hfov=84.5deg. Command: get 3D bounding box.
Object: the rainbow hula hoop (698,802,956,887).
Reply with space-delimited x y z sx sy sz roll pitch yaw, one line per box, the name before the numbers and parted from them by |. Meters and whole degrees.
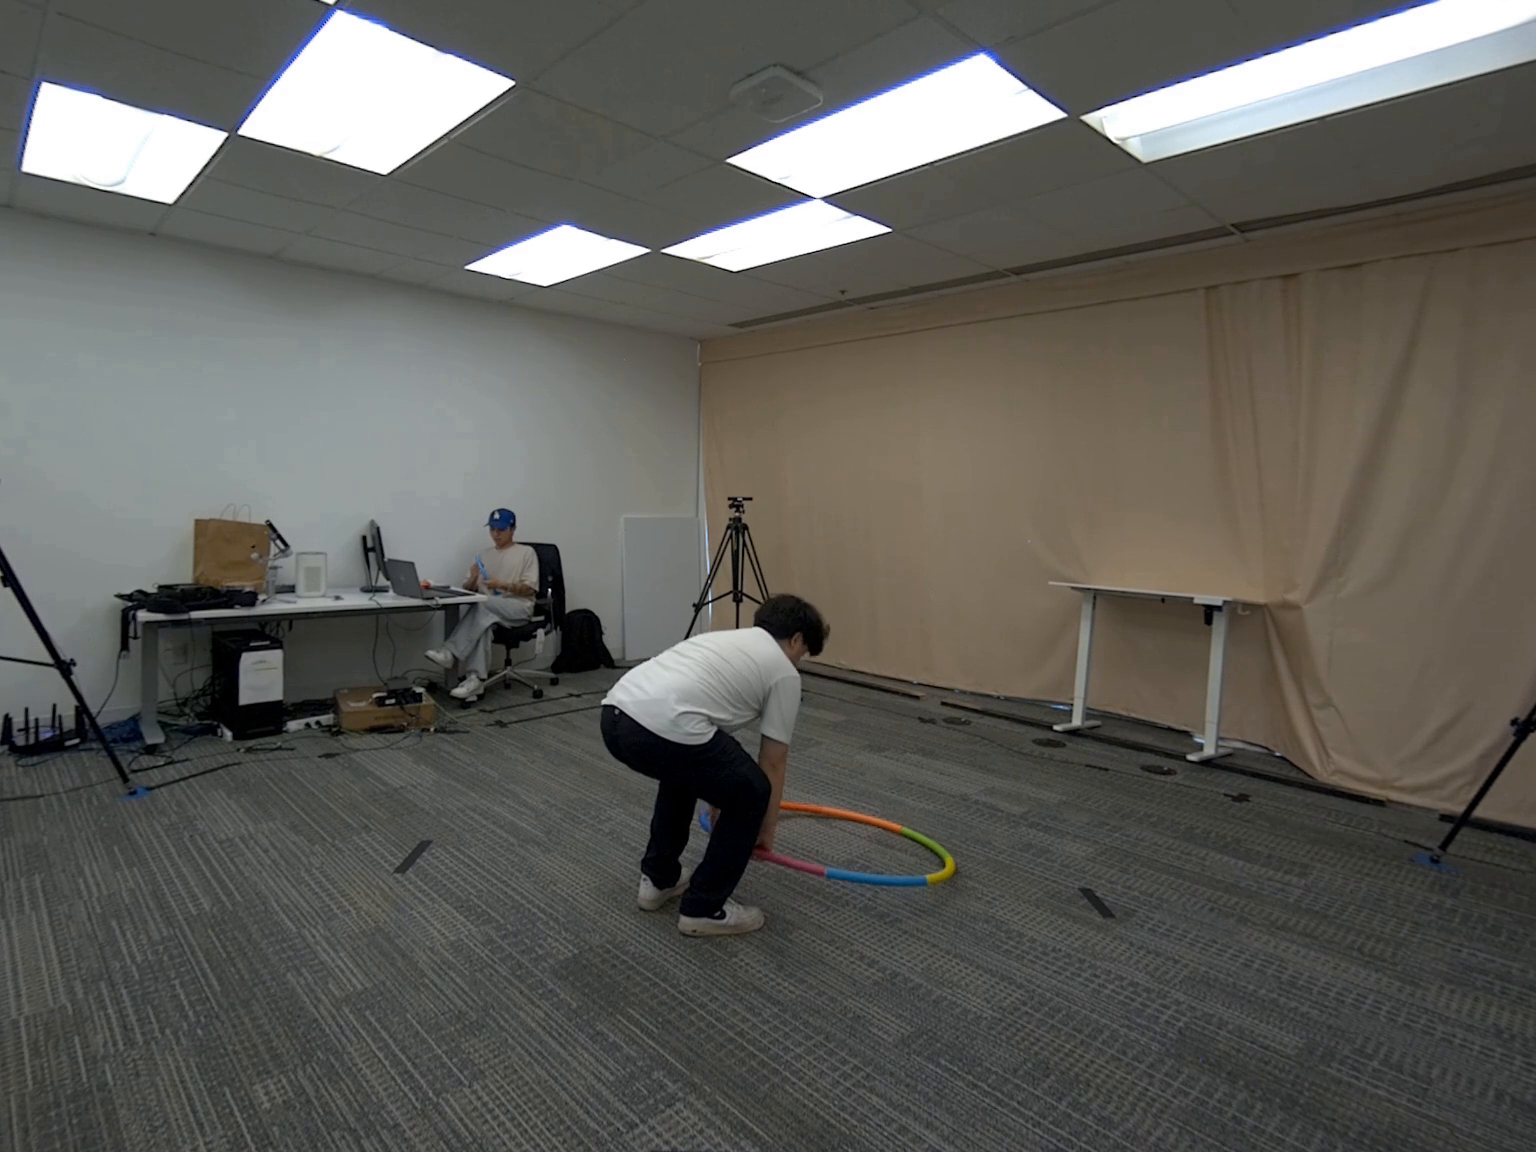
rainbow hula hoop | 0.212 0.995 3.247 0.985 0.052 0.983 9 -2 -1
